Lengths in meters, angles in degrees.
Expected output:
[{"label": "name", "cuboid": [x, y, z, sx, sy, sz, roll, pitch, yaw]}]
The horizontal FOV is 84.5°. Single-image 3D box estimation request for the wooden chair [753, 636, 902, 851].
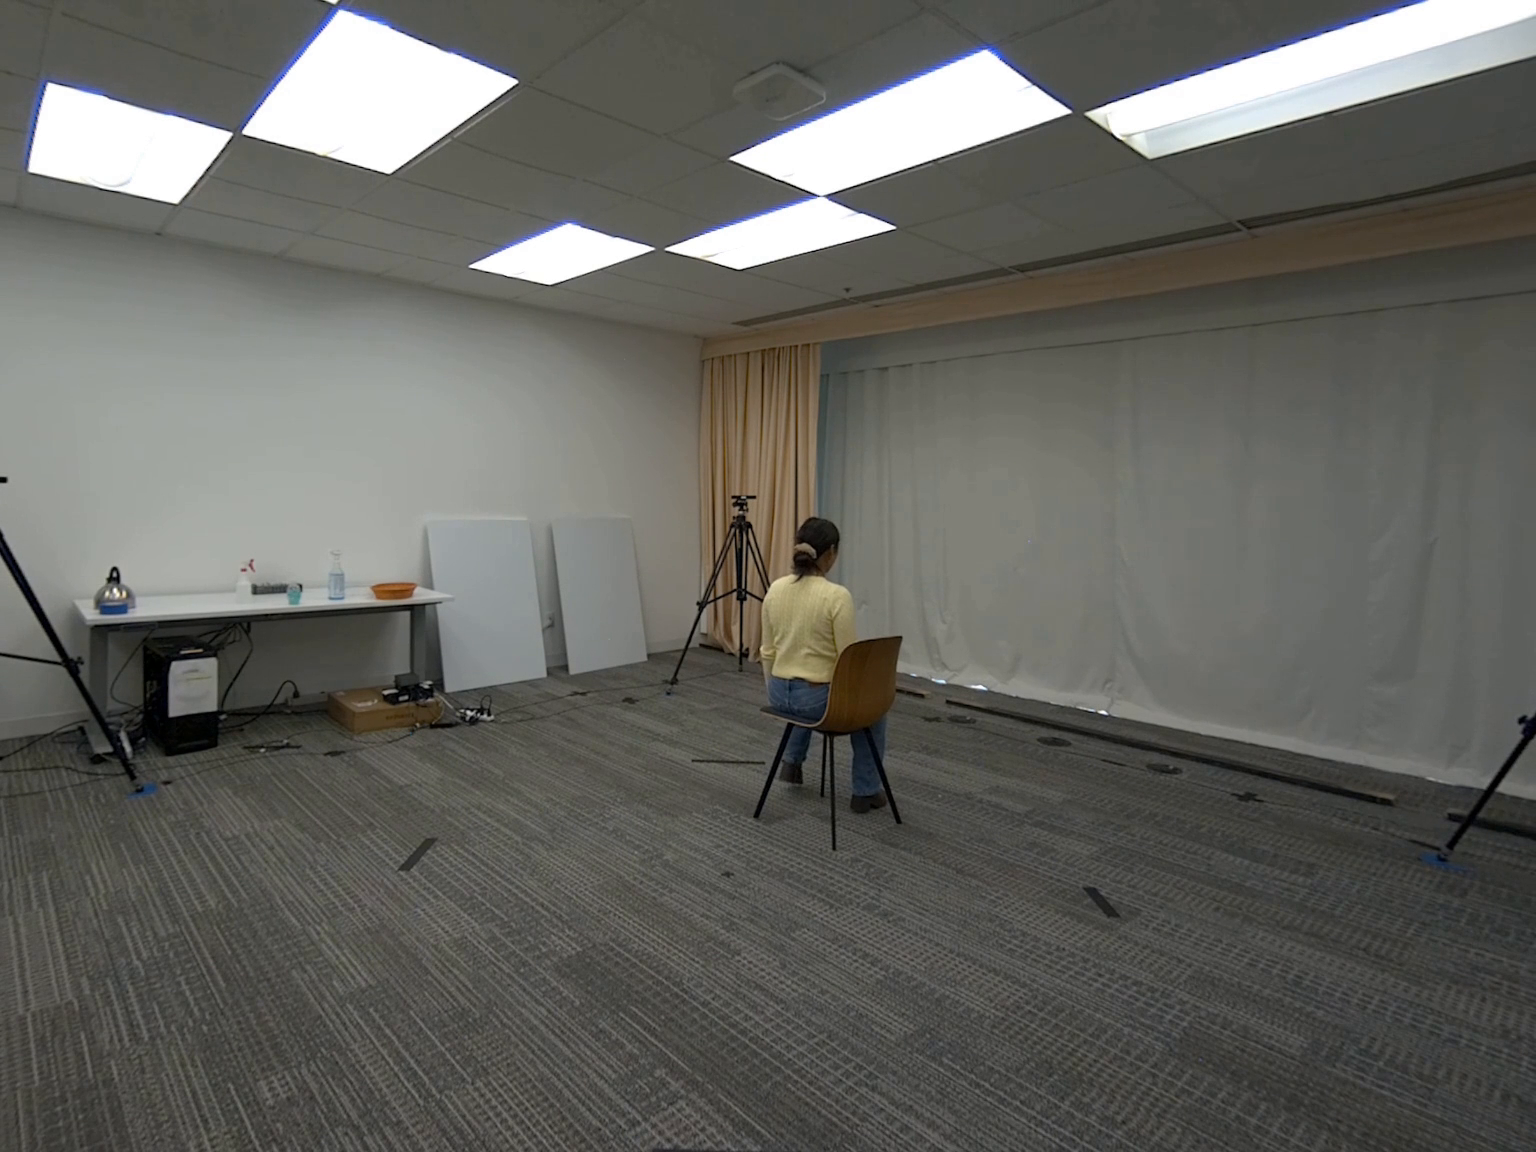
[{"label": "wooden chair", "cuboid": [0.252, 0.639, 3.622, 0.467, 0.874, 0.537, -2, 8, -44]}]
